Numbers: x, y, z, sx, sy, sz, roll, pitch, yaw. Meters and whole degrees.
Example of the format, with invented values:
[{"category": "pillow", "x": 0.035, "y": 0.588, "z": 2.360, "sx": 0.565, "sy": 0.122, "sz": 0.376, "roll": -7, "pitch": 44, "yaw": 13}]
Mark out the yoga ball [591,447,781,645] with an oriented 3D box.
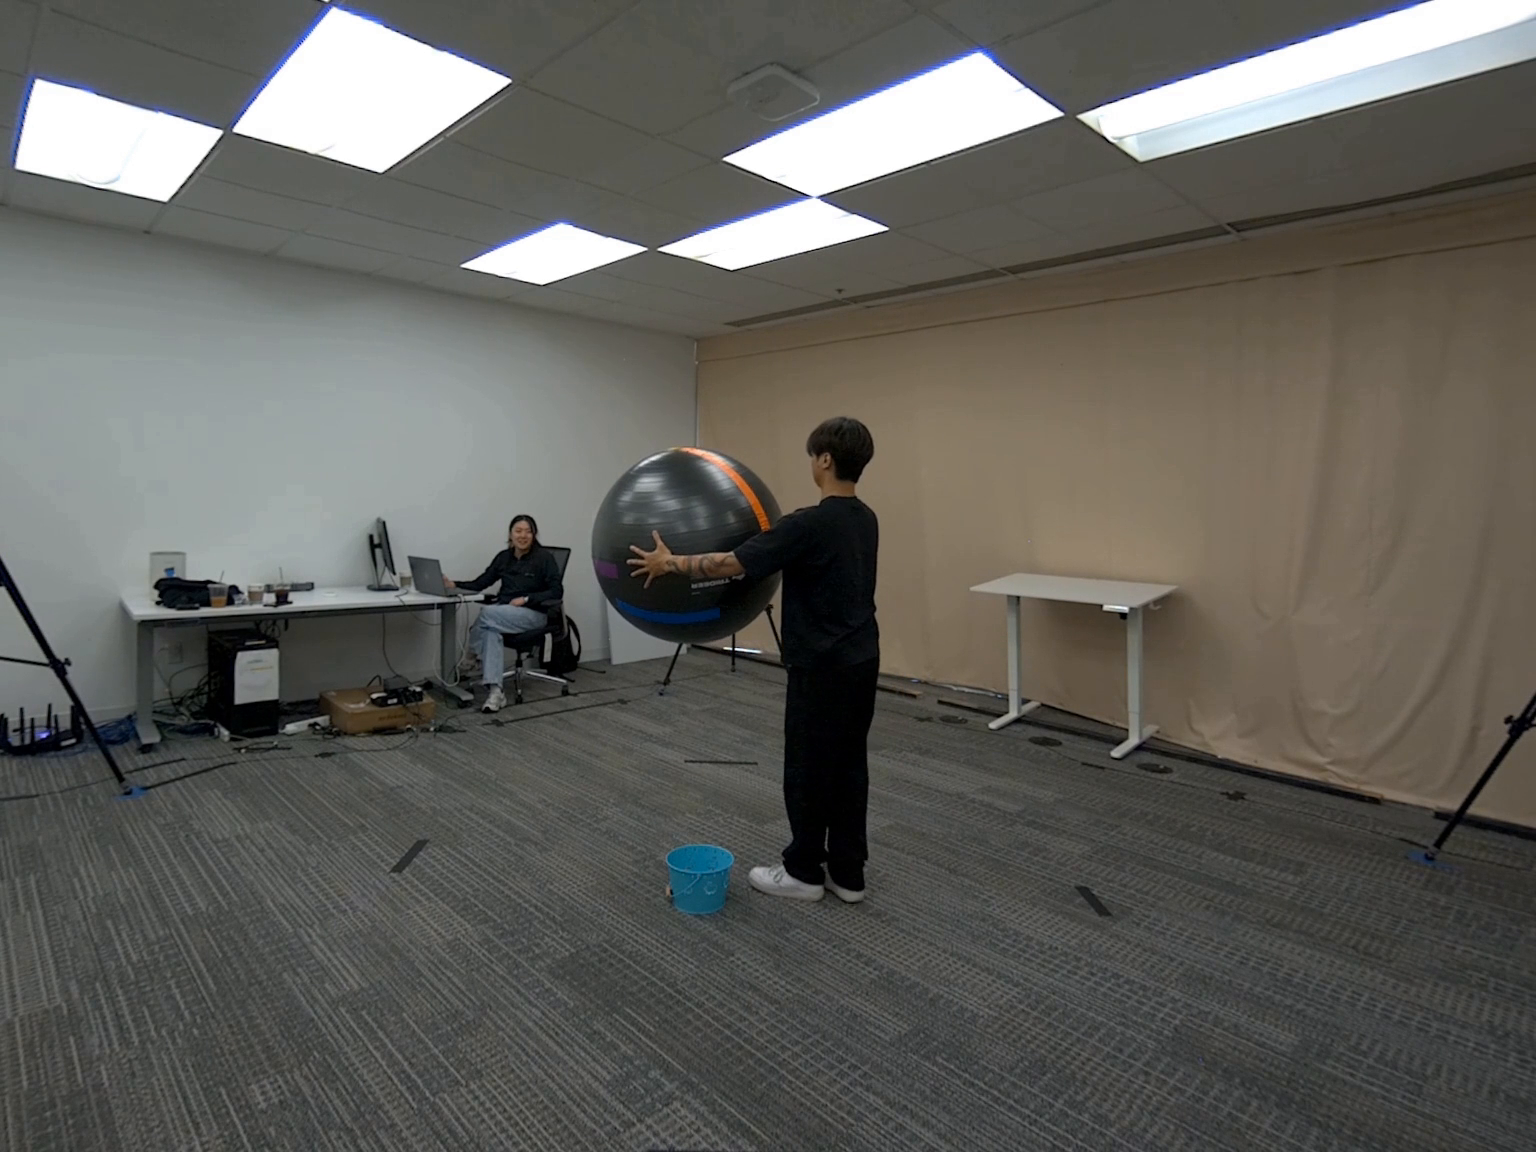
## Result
[{"category": "yoga ball", "x": -0.321, "y": -0.116, "z": 3.303, "sx": 0.757, "sy": 0.756, "sz": 0.761, "roll": 1, "pitch": 4, "yaw": -1}]
